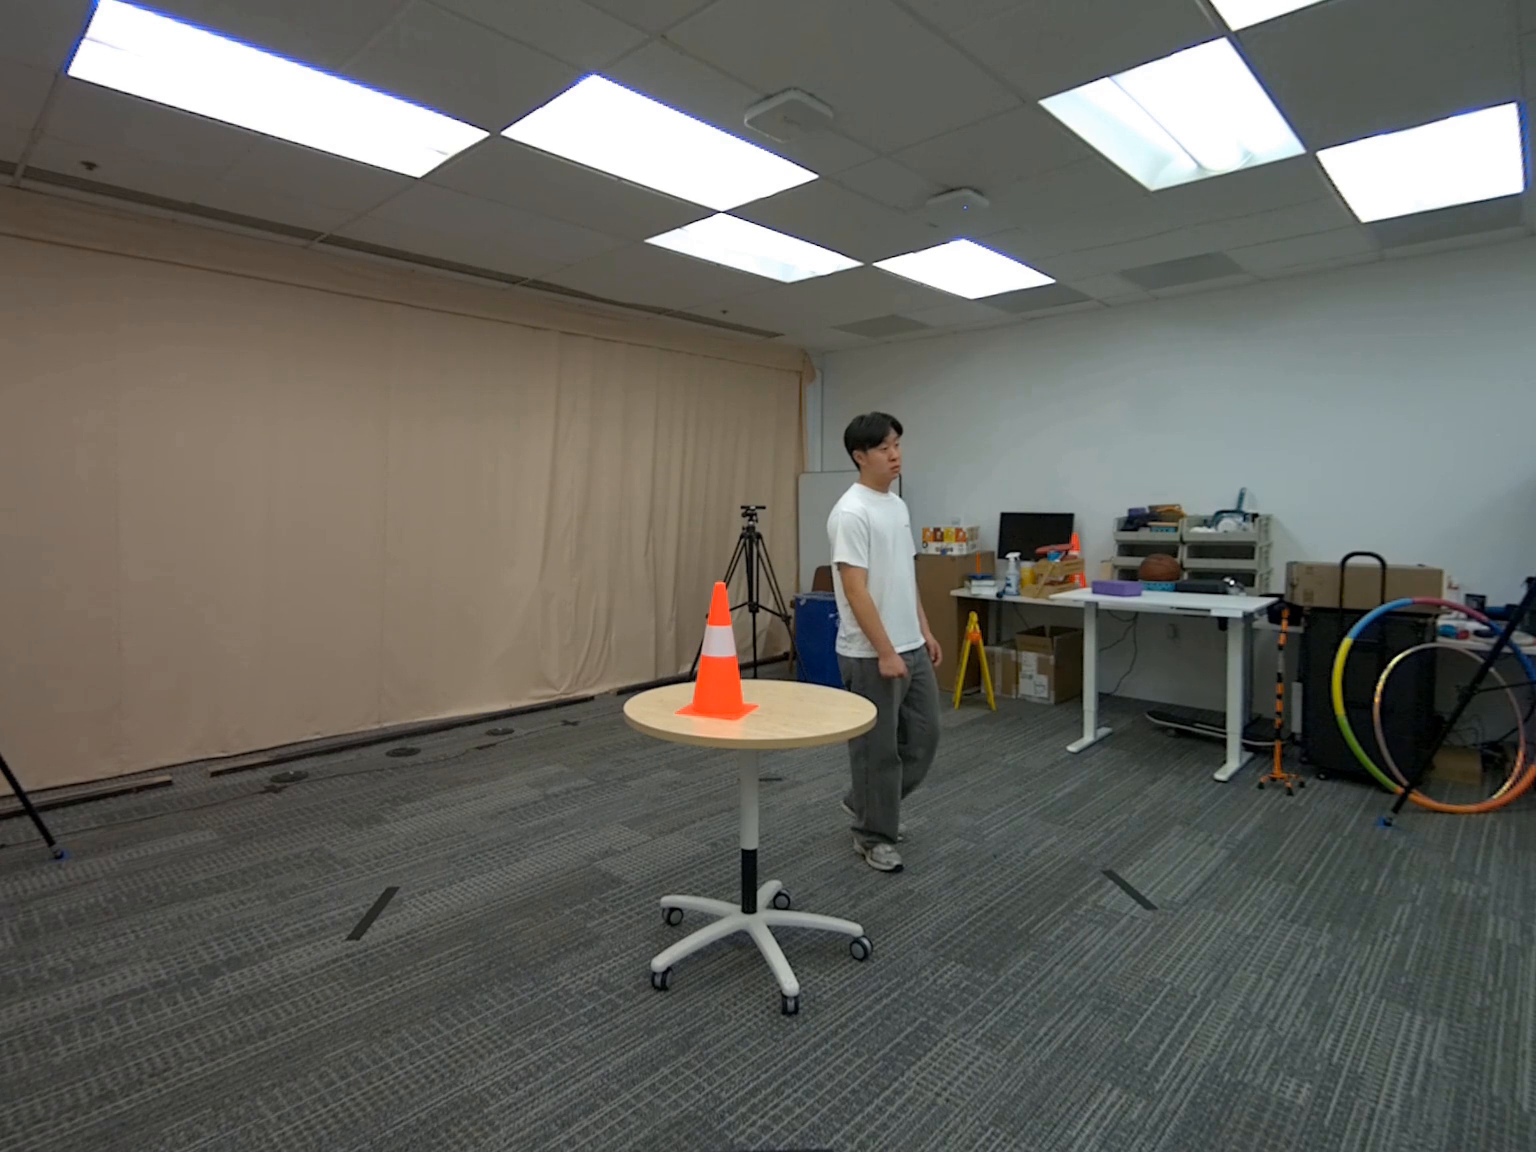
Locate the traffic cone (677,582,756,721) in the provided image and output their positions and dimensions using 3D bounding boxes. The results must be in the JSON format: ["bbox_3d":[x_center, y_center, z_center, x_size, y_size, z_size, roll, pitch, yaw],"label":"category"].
[{"bbox_3d":[-0.141,0.217,2.506,0.209,0.383,0.199,0,3,19],"label":"traffic cone"}]
